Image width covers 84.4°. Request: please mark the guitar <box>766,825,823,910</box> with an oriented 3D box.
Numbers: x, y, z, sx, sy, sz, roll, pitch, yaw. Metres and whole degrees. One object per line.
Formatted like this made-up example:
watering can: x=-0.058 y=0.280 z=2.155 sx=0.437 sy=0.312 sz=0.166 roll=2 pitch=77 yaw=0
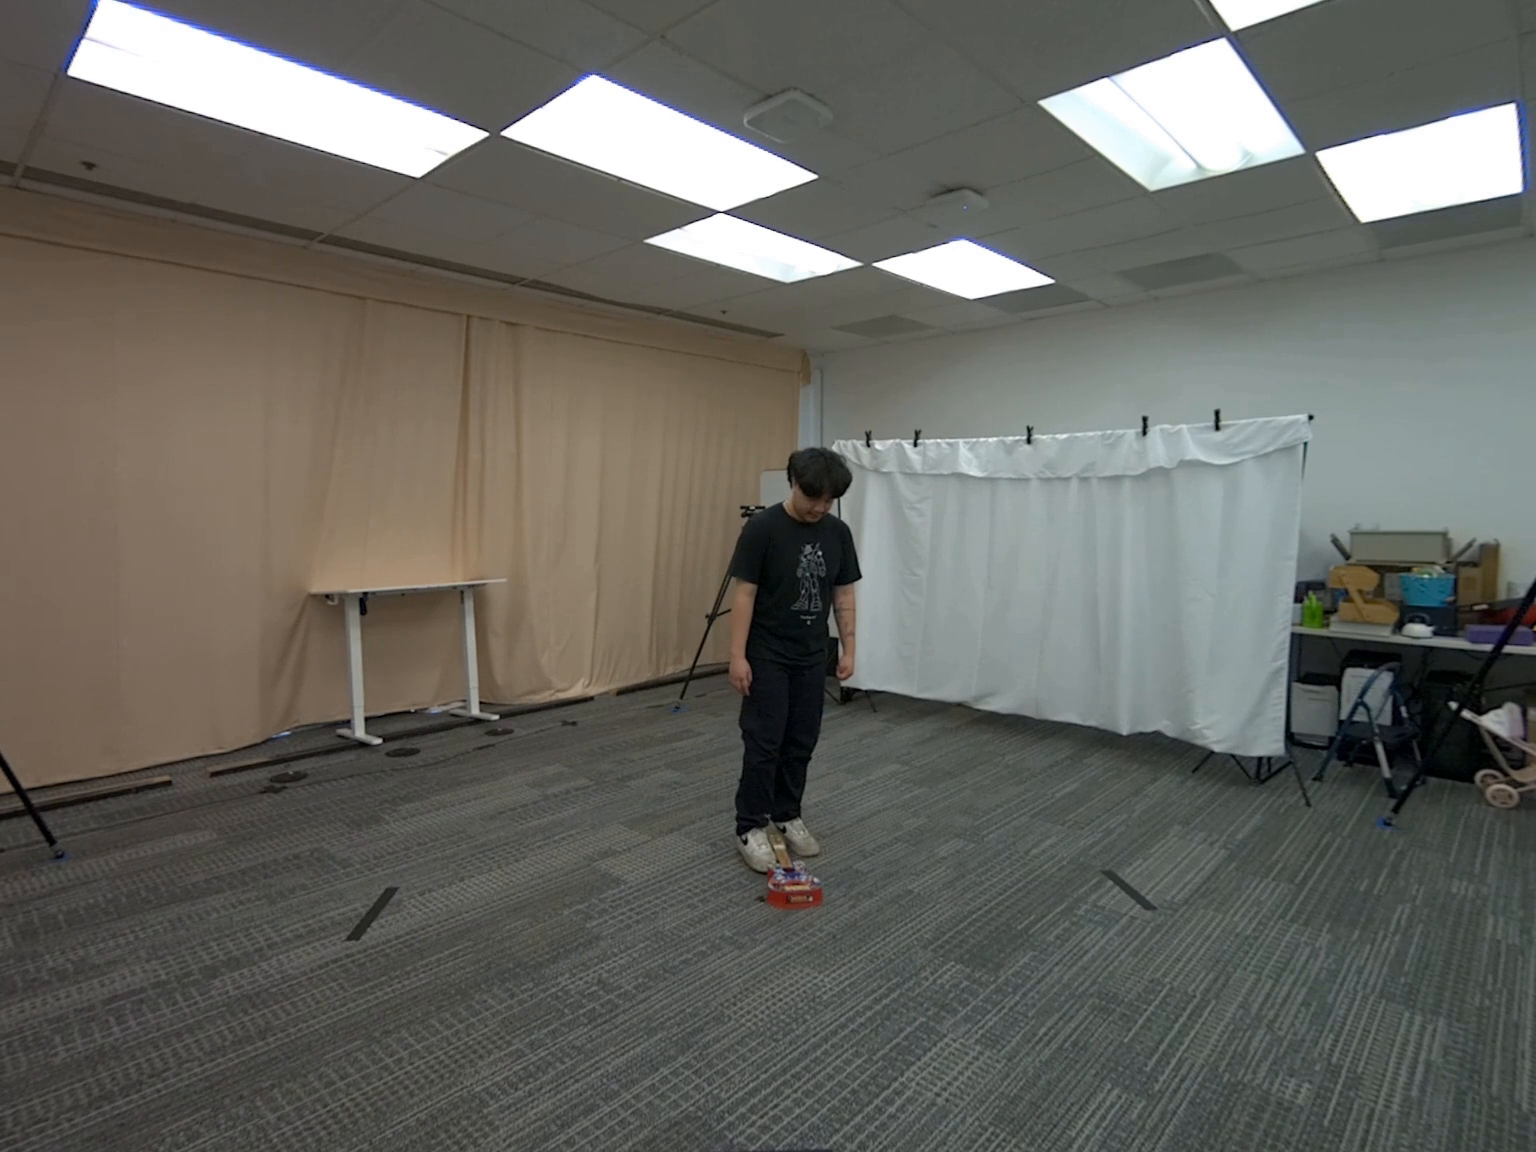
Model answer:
guitar: x=0.098 y=1.091 z=3.150 sx=0.193 sy=0.070 sz=0.498 roll=-1 pitch=5 yaw=0
